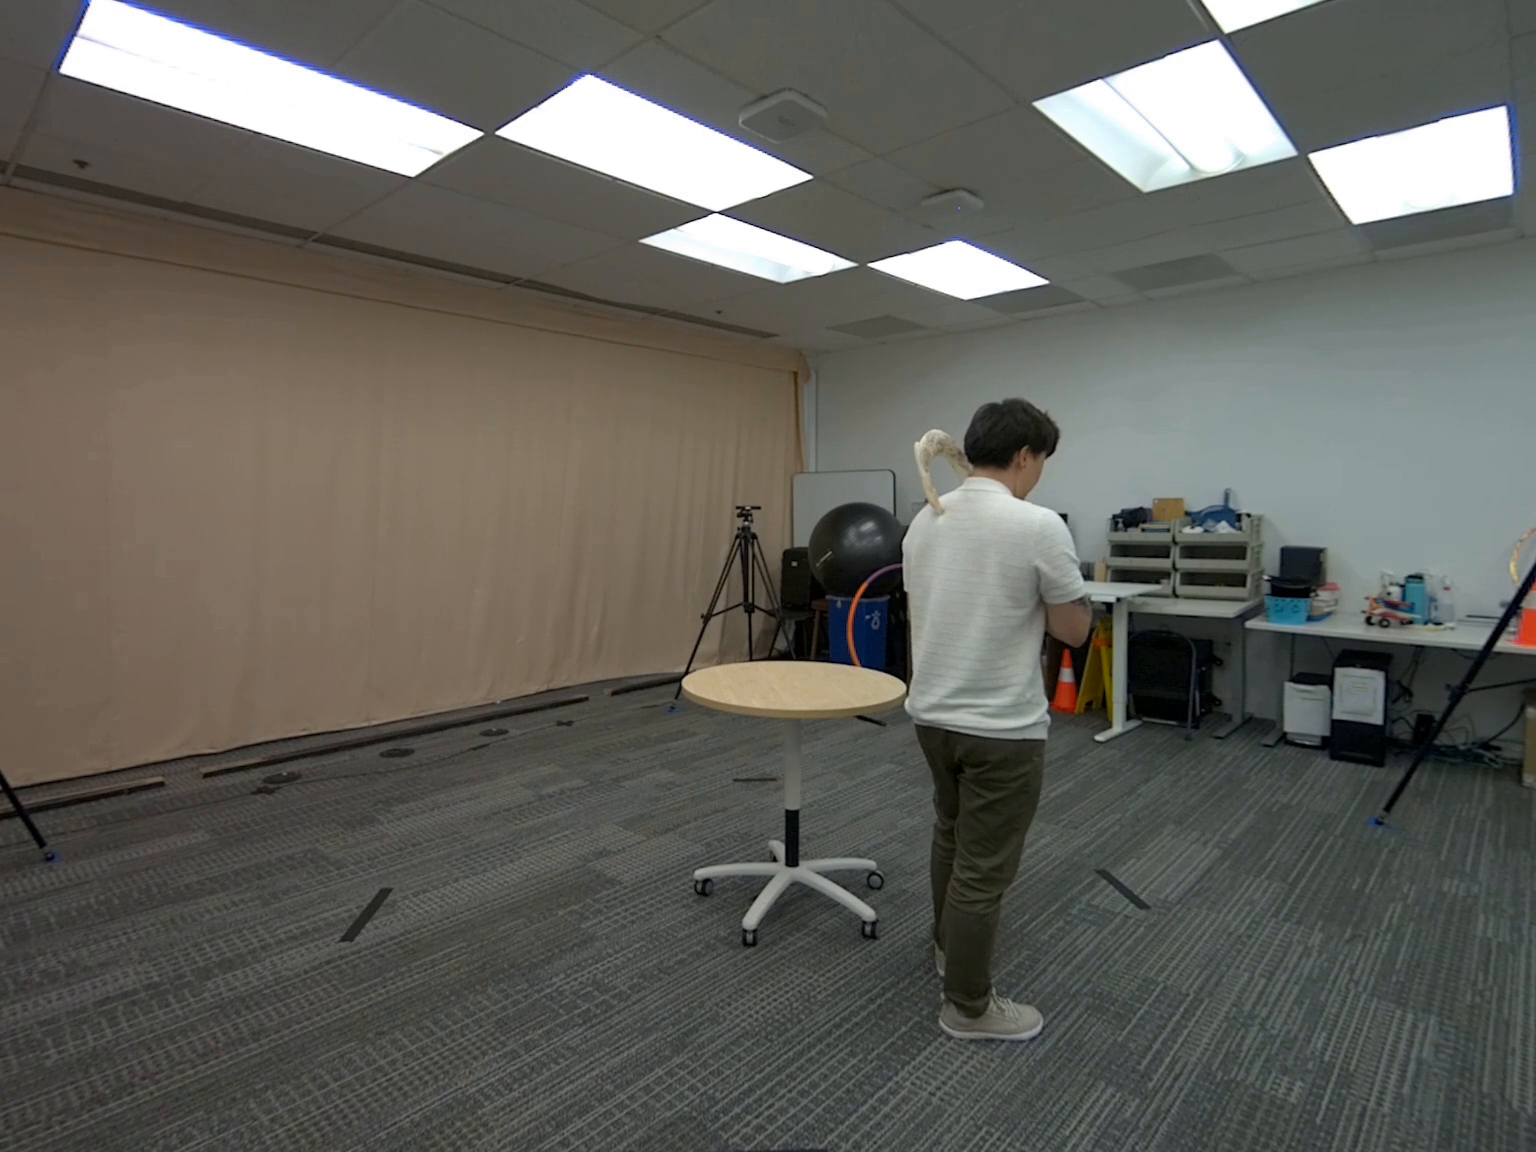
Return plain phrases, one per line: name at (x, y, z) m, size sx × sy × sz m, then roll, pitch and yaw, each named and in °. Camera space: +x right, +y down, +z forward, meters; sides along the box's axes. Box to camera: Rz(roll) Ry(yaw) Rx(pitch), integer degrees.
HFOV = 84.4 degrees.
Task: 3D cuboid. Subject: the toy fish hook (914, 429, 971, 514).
toy fish hook at (0.554, -0.160, 2.286) m, size 0.222 × 0.502 × 0.049 m, roll -37°, pitch 10°, yaw -32°
